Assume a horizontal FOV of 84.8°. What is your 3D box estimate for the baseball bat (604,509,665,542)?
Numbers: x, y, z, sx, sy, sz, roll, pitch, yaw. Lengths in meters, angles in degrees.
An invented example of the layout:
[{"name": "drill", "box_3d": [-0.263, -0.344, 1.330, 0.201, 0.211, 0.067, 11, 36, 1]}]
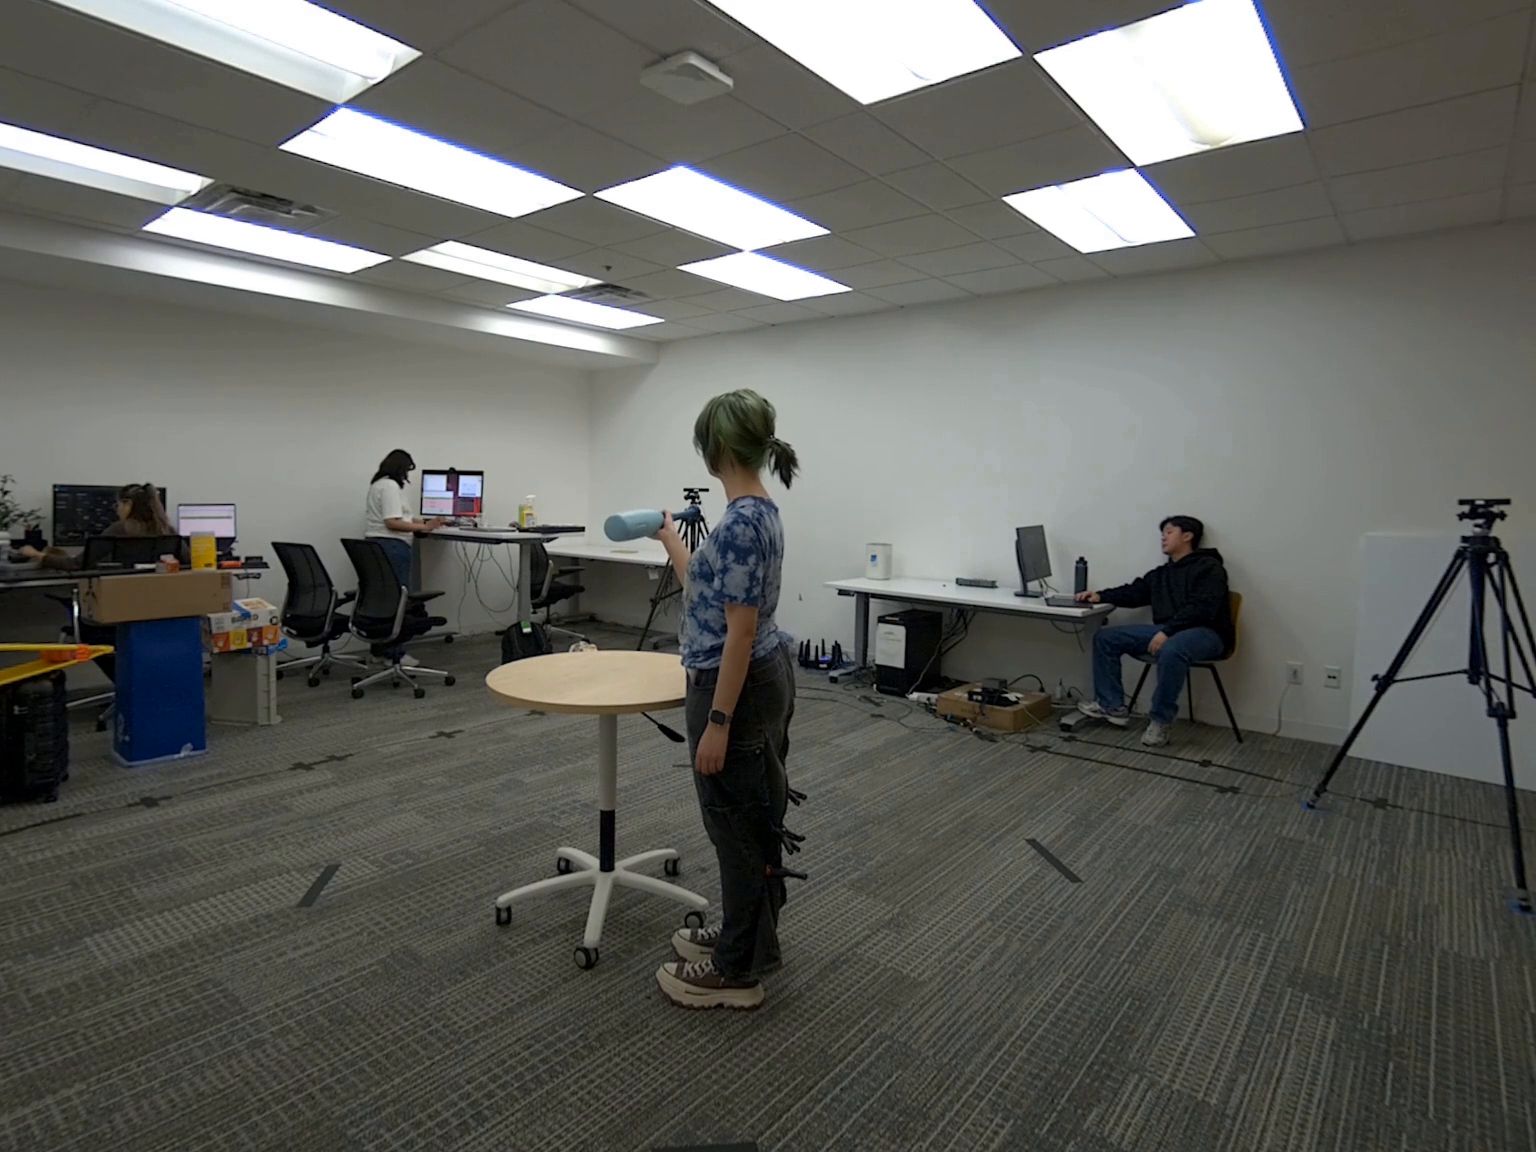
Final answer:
[{"name": "baseball bat", "box_3d": [-0.364, -0.185, 2.743, 0.091, 0.088, 0.534, 2, 11, 22]}]
